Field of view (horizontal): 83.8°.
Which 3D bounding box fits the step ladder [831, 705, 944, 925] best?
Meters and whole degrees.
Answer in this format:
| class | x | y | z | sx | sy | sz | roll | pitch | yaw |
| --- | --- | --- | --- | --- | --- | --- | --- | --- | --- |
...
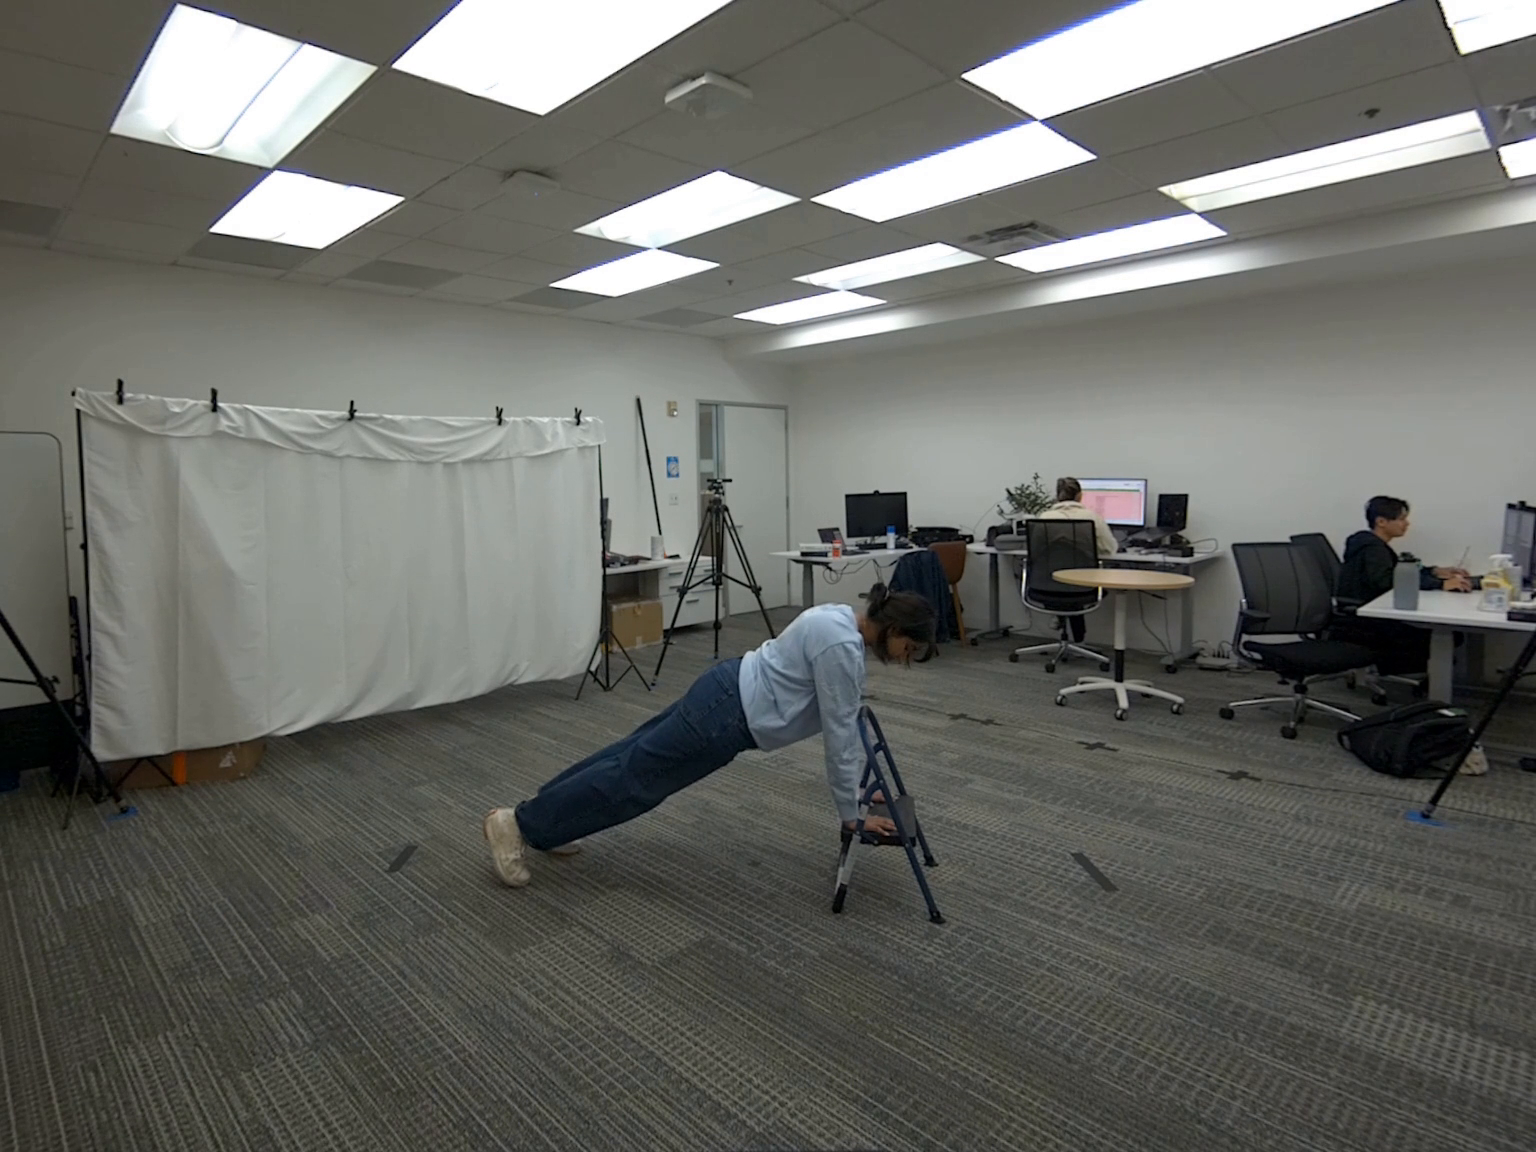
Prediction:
| class | x | y | z | sx | sy | sz | roll | pitch | yaw |
| --- | --- | --- | --- | --- | --- | --- | --- | --- | --- |
| step ladder | 0.400 | 0.757 | 2.888 | 0.353 | 0.604 | 0.428 | 0 | 4 | 9 |
